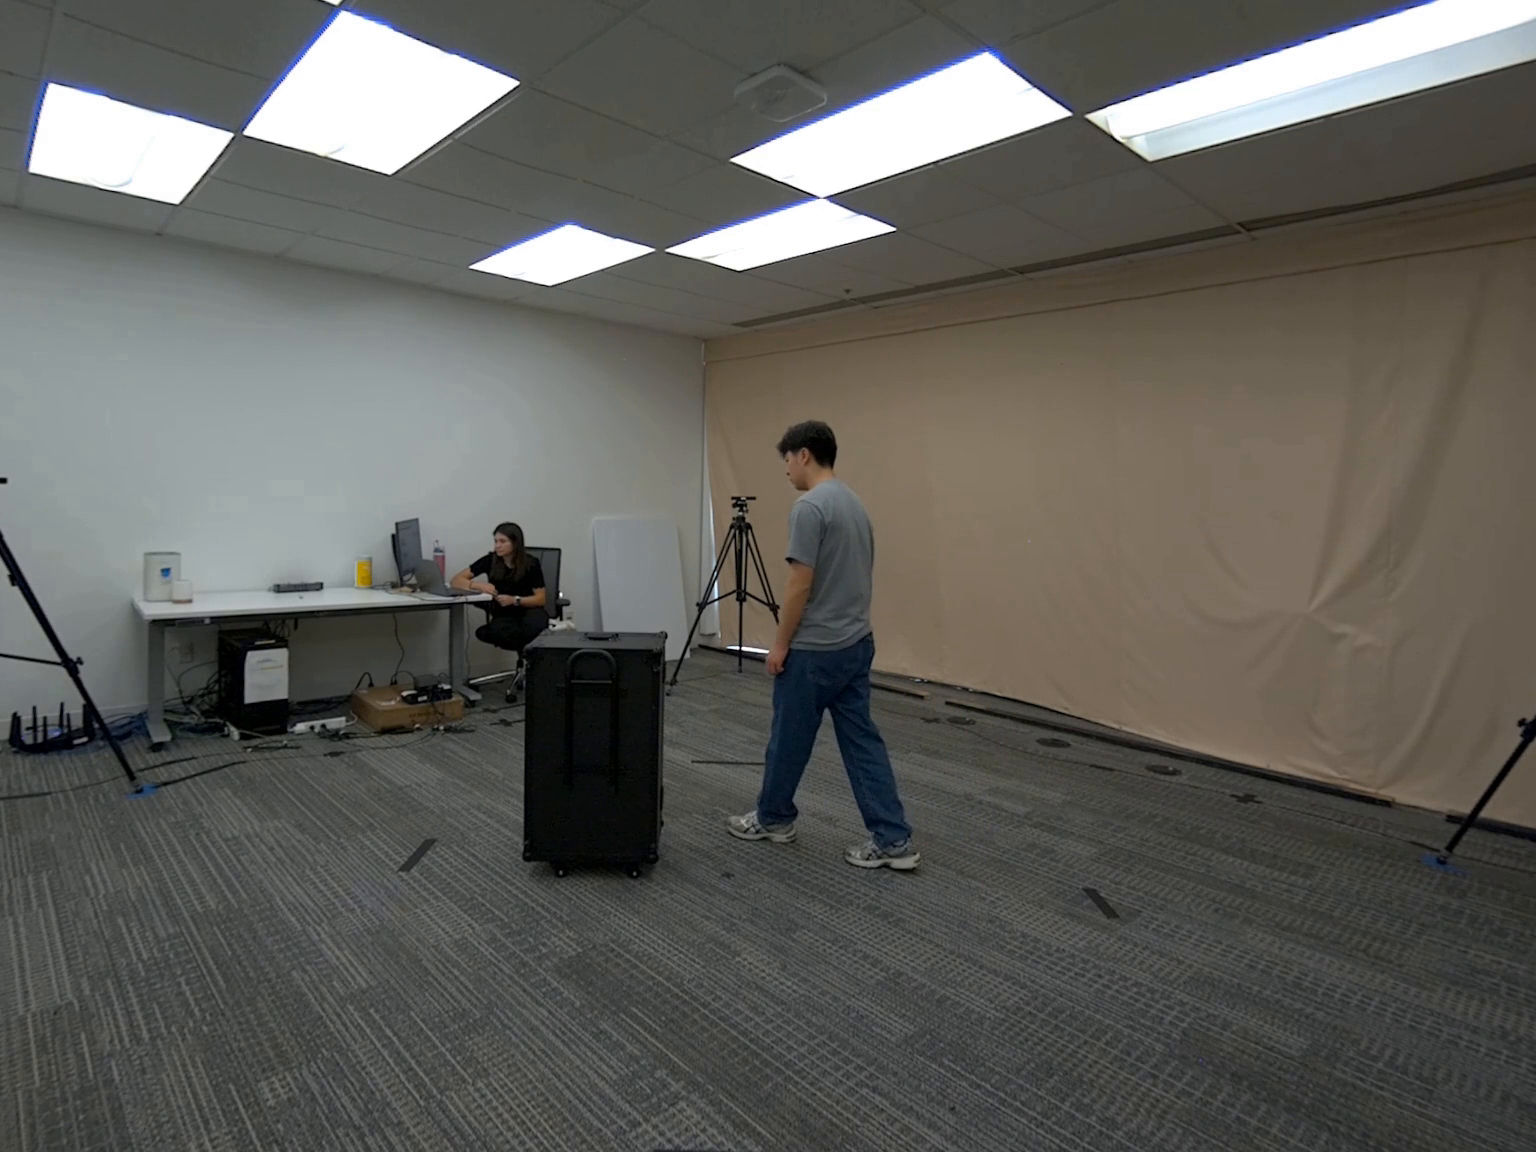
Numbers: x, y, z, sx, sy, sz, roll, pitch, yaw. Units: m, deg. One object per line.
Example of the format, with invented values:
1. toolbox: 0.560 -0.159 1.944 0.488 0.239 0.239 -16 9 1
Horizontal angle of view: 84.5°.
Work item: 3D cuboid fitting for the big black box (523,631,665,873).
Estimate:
1. big black box: -0.644 0.667 3.164 0.520 0.859 0.398 1 4 -2
